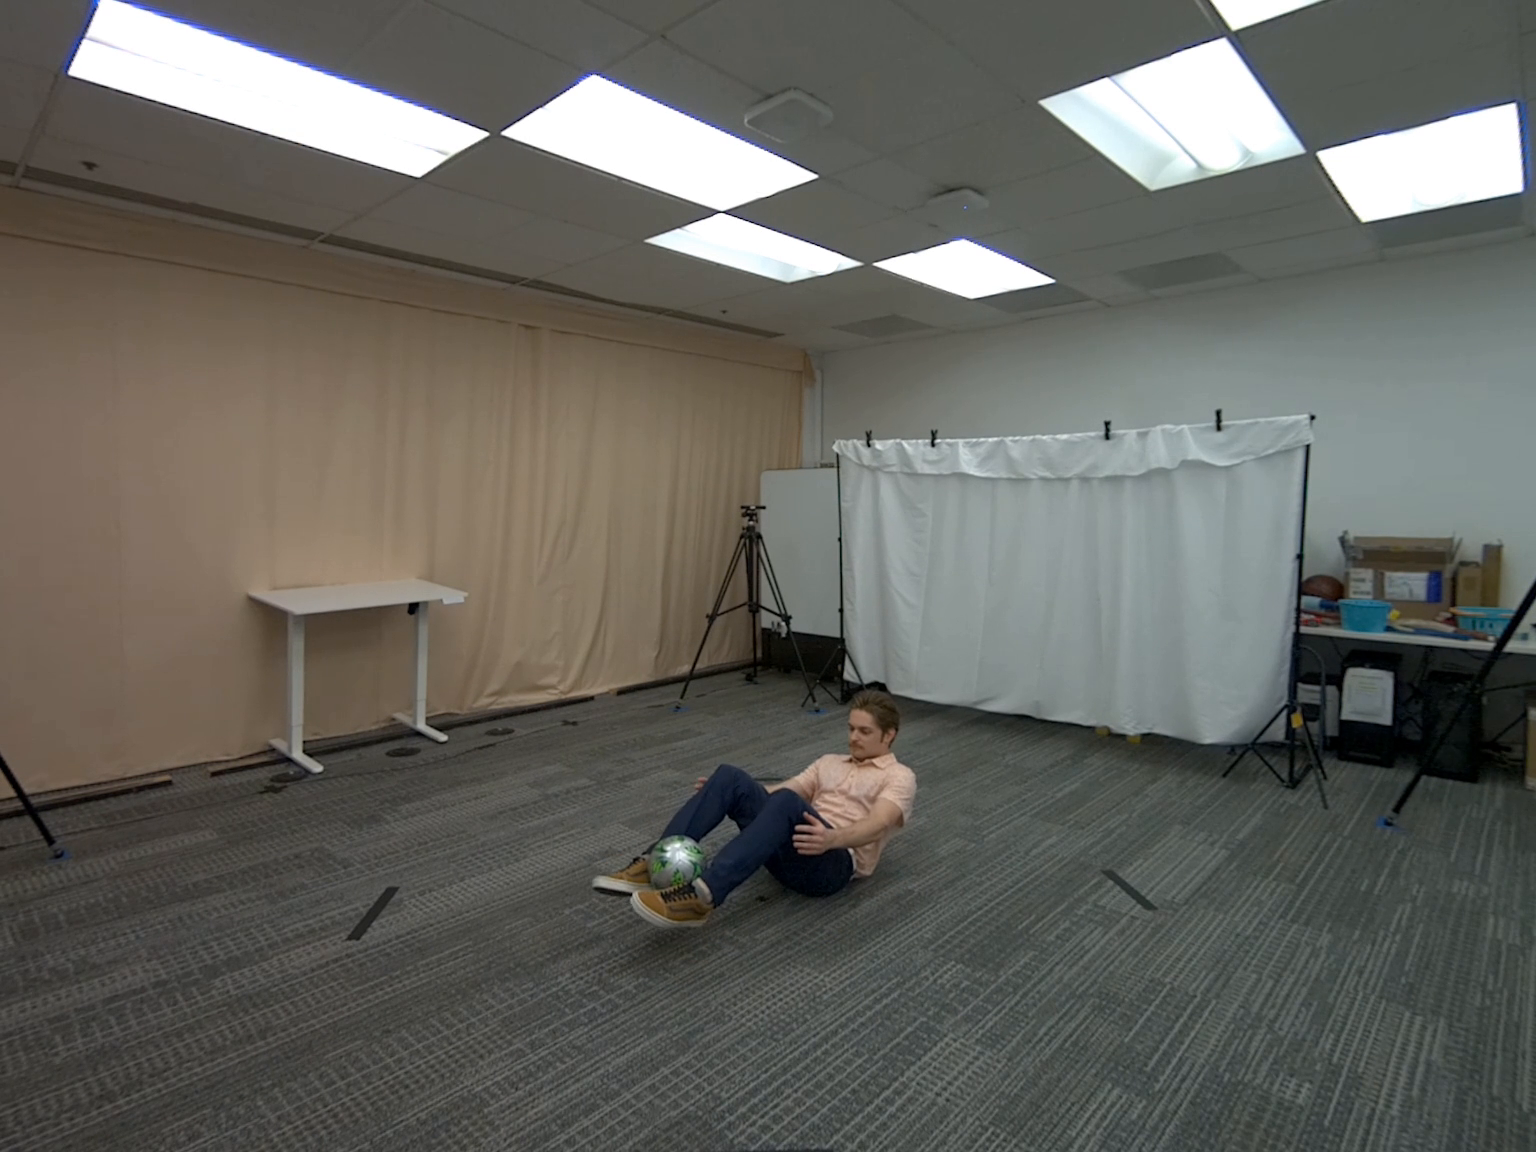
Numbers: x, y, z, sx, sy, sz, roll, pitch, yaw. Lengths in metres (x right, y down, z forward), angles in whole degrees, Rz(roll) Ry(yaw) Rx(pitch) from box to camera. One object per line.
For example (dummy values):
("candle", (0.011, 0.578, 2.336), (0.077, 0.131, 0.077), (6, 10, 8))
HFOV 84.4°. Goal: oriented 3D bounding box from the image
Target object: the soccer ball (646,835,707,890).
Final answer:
("soccer ball", (-0.285, 0.916, 2.658), (0.187, 0.187, 0.188), (0, 4, -2))
